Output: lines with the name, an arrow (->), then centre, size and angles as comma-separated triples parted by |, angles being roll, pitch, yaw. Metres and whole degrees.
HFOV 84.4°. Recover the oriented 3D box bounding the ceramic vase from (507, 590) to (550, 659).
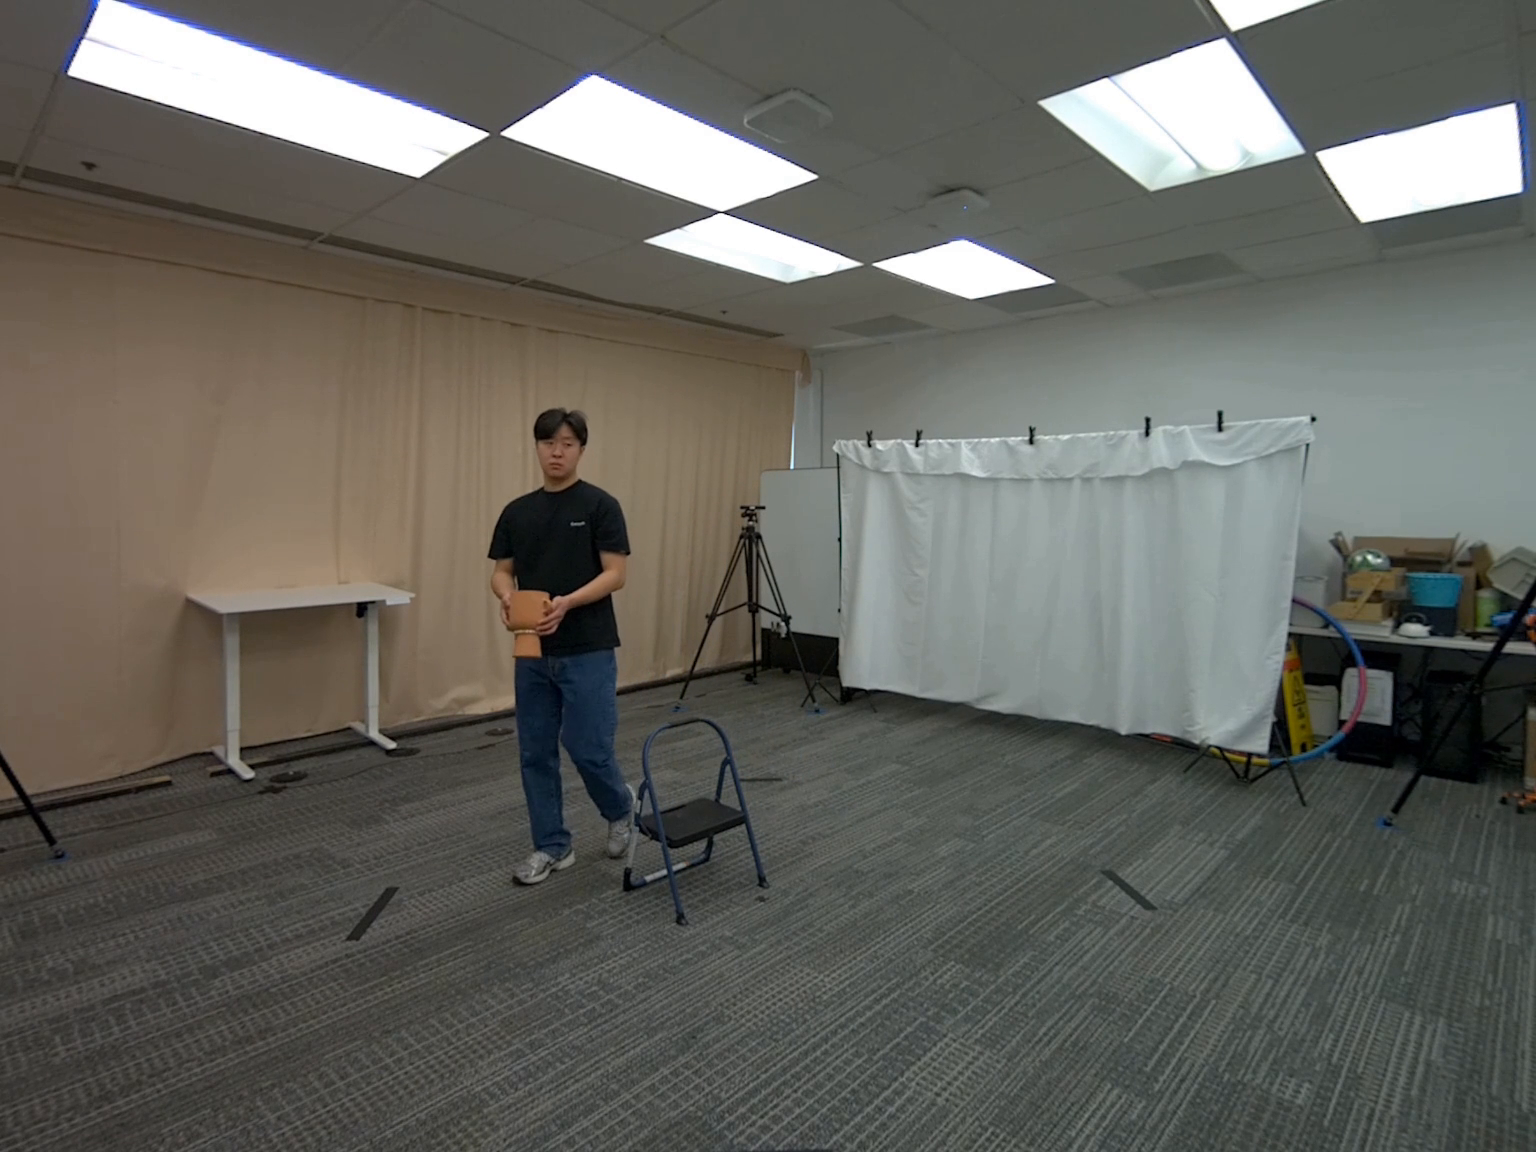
ceramic vase -> -0.813, 0.169, 2.909 | 0.132, 0.221, 0.161 | 3, -9, -22
